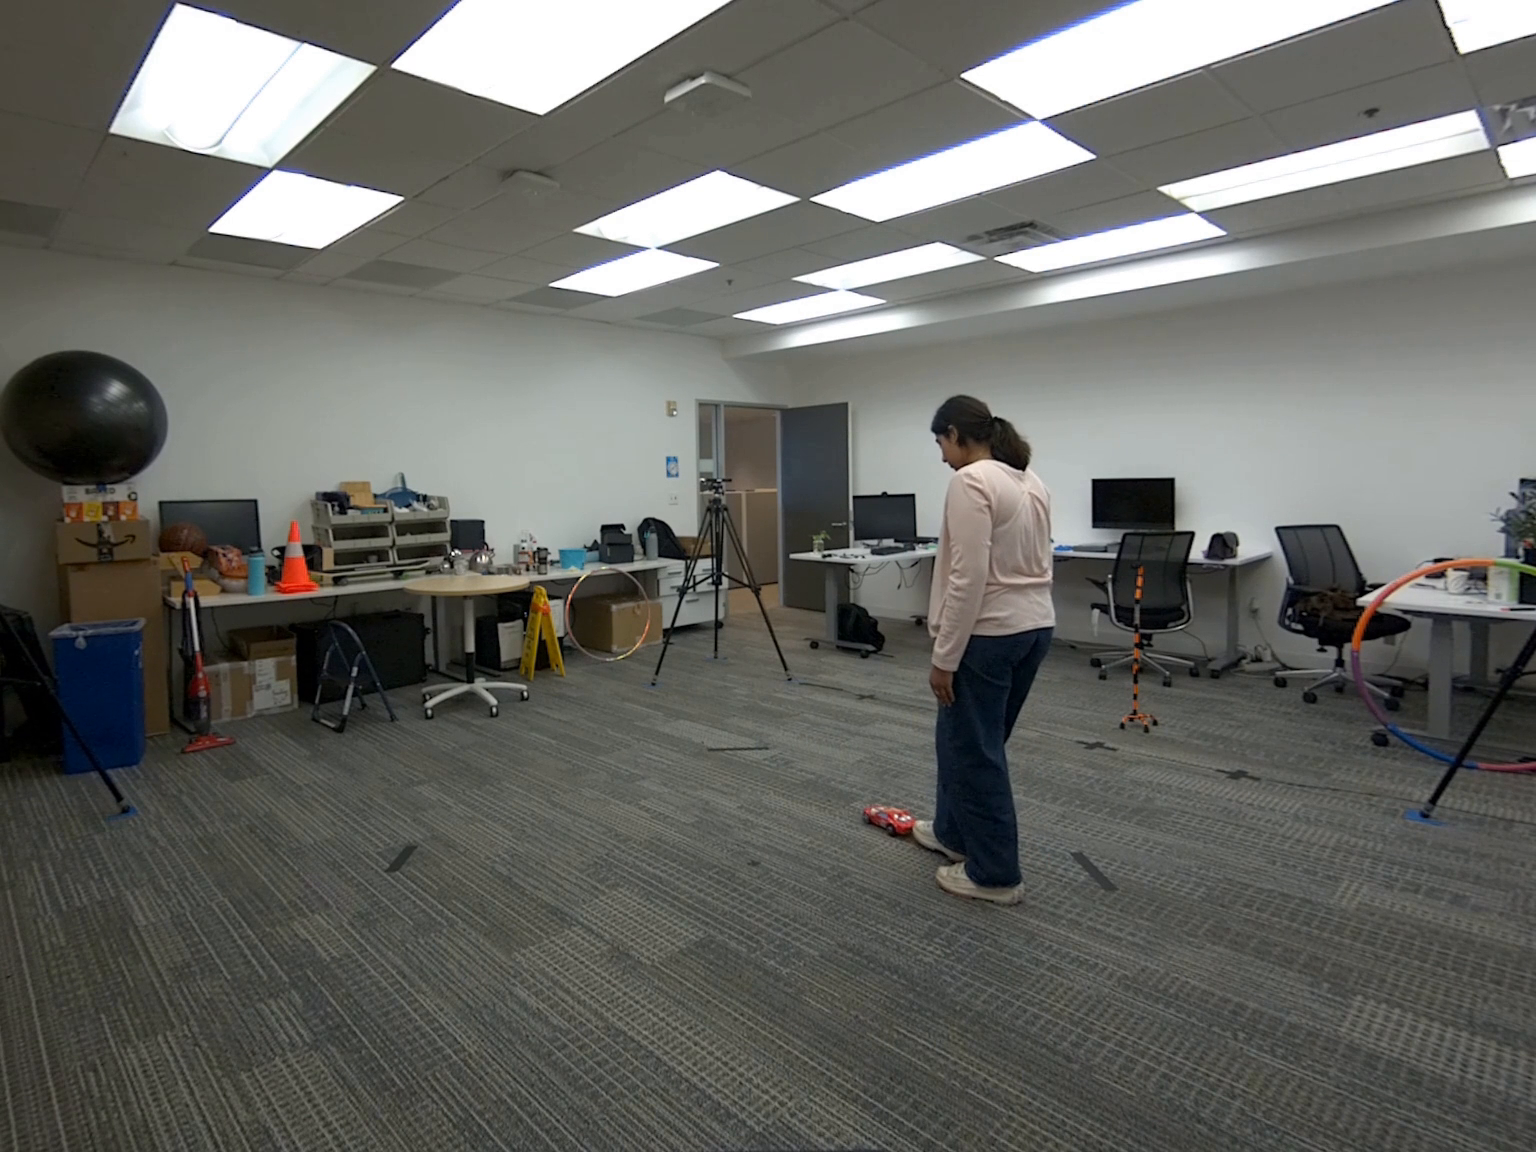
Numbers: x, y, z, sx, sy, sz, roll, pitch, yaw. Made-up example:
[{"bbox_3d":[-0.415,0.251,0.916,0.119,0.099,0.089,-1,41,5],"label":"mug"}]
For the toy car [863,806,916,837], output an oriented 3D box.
[{"bbox_3d":[0.494,0.970,3.394,0.127,0.083,0.259,-3,-5,-32],"label":"toy car"}]
